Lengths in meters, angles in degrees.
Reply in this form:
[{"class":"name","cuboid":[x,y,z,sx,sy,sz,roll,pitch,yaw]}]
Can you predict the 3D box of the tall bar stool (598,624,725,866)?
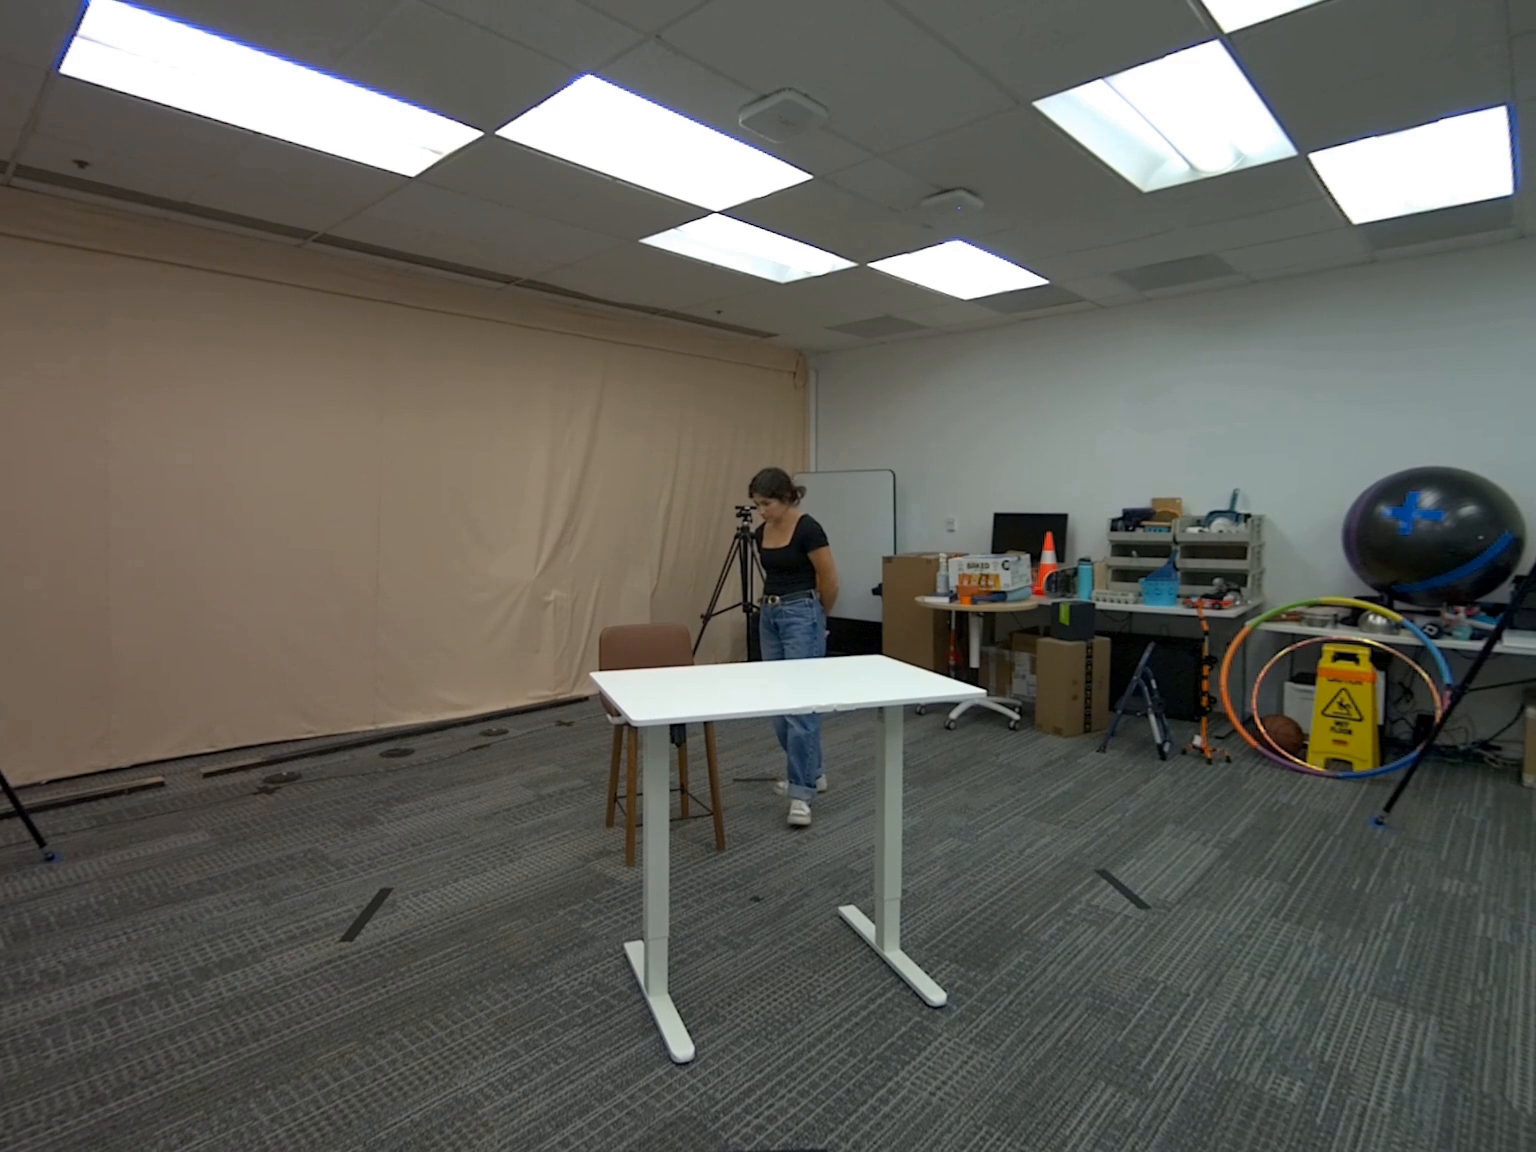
[{"class":"tall bar stool","cuboid":[-0.454,0.670,3.514,0.447,0.889,0.478,-2,2,-22]}]
